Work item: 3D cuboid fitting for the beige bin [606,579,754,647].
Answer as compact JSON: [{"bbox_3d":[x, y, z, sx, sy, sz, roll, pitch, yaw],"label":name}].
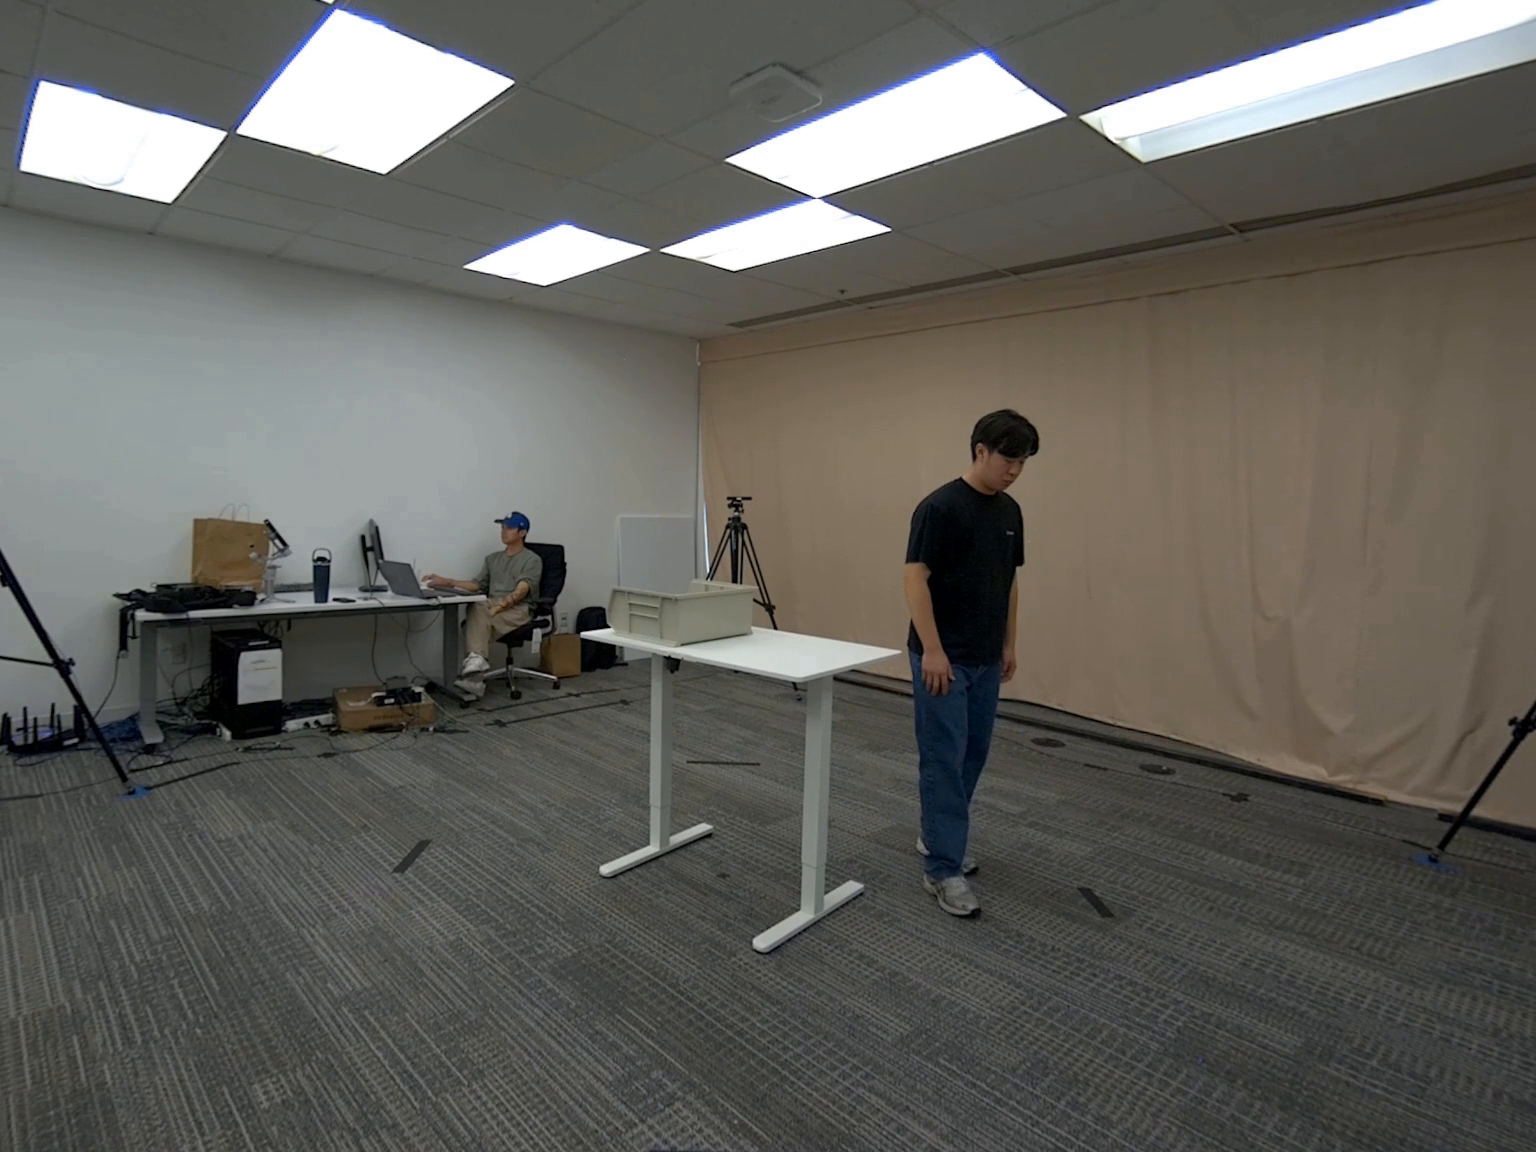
[{"bbox_3d":[-0.321,0.131,3.108,0.387,0.188,0.413,8,8,42],"label":"beige bin"}]
